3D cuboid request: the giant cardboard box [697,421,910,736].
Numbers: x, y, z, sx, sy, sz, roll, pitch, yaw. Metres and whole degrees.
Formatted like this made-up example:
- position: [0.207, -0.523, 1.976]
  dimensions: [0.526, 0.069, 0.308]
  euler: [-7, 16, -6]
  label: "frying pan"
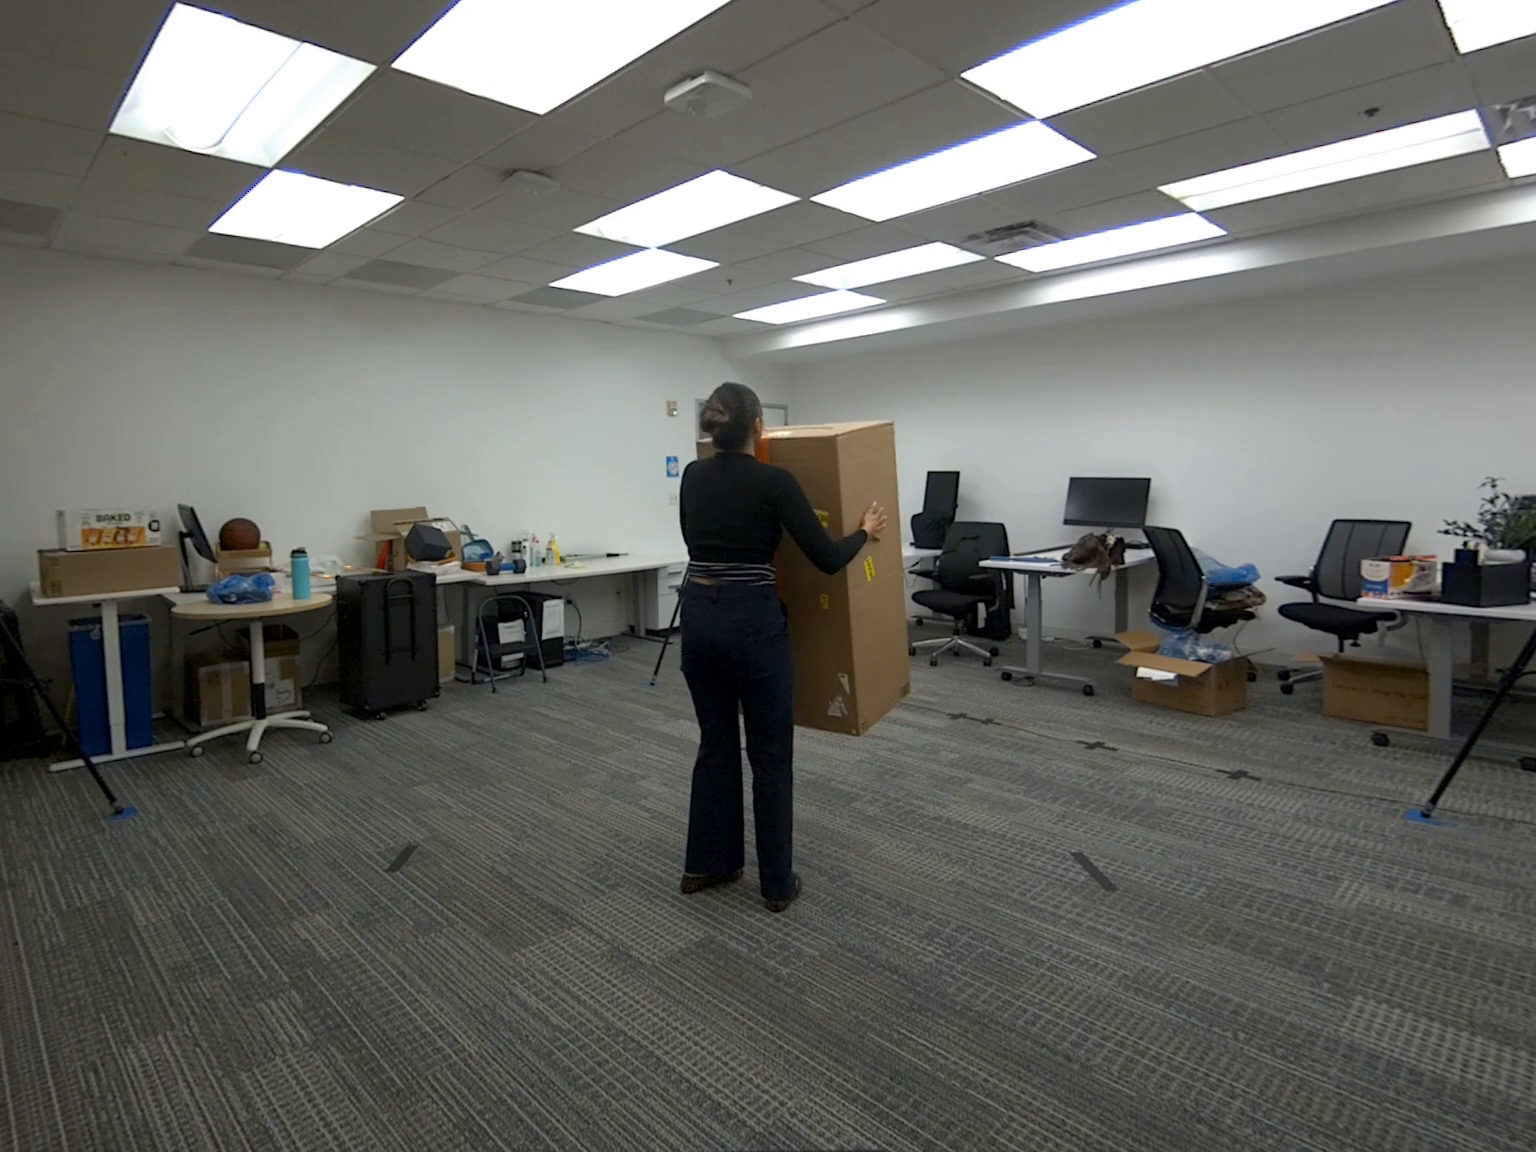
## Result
- position: [0.137, -0.017, 3.118]
  dimensions: [0.594, 1.015, 0.418]
  euler: [2, 13, 36]
  label: "giant cardboard box"
